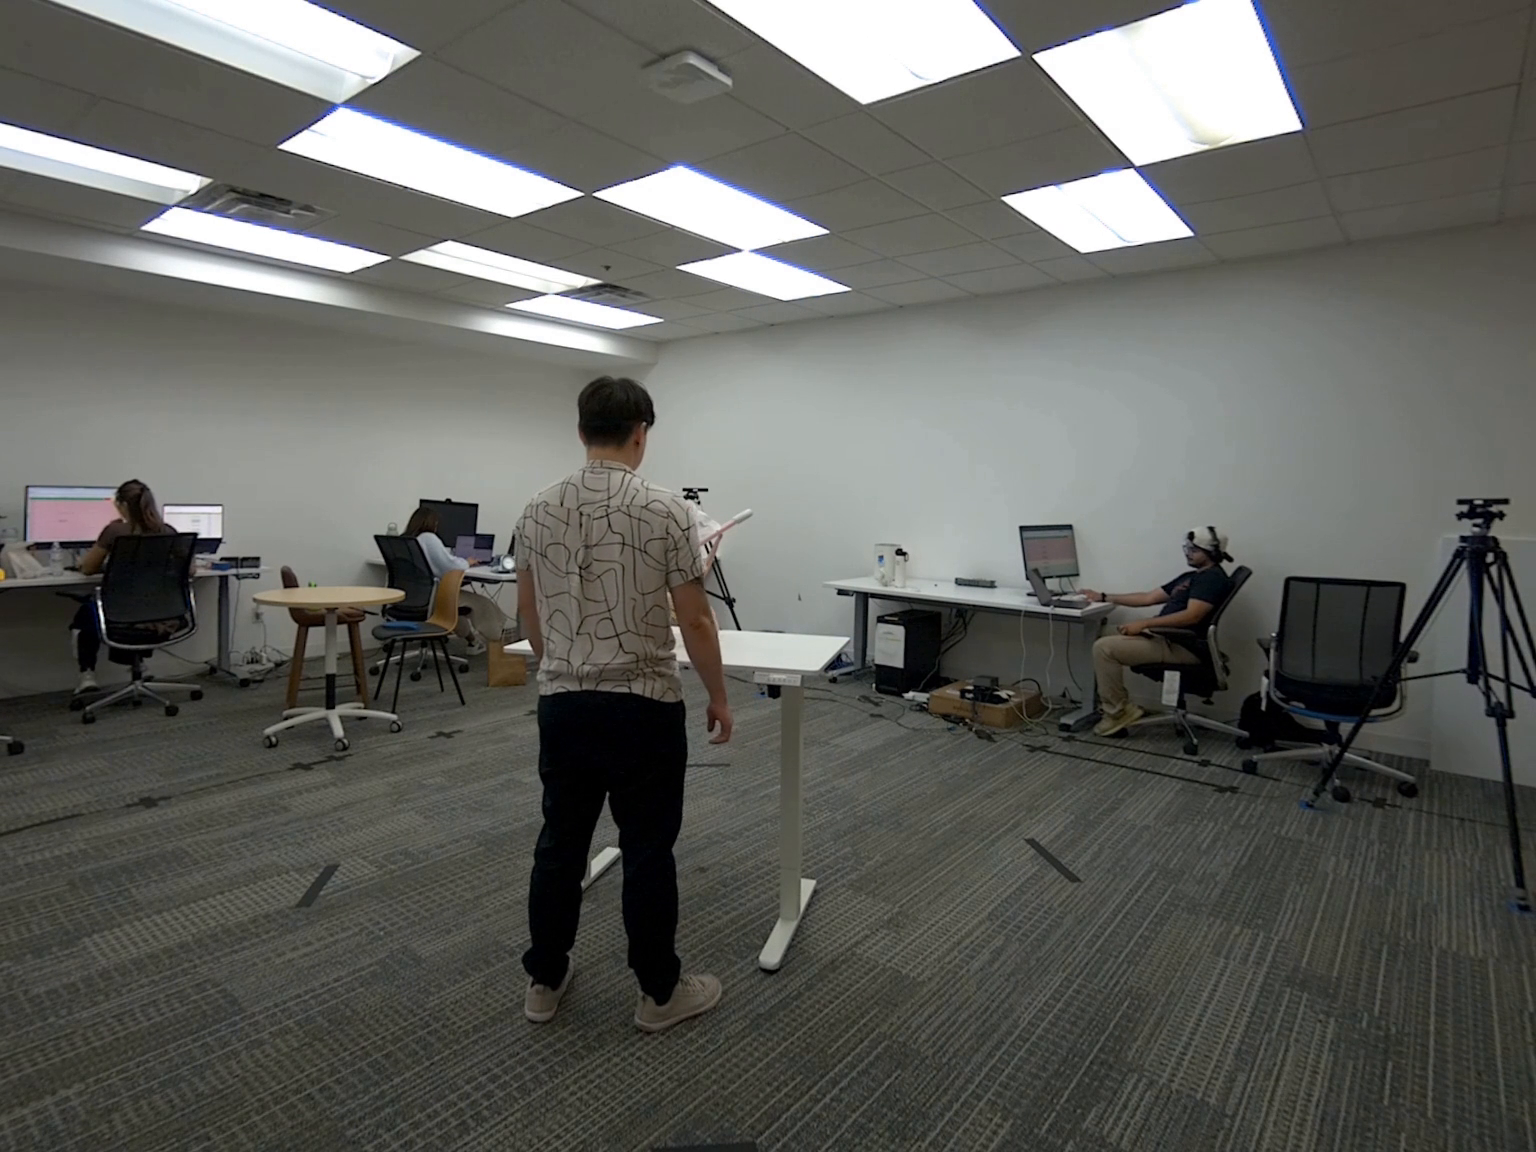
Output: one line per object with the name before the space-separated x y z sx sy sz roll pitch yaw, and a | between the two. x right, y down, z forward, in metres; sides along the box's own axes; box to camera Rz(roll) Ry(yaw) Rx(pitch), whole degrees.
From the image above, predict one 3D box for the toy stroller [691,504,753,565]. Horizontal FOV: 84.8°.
toy stroller | -0.302 -0.018 2.847 0.342 0.534 0.282 16 2 0
